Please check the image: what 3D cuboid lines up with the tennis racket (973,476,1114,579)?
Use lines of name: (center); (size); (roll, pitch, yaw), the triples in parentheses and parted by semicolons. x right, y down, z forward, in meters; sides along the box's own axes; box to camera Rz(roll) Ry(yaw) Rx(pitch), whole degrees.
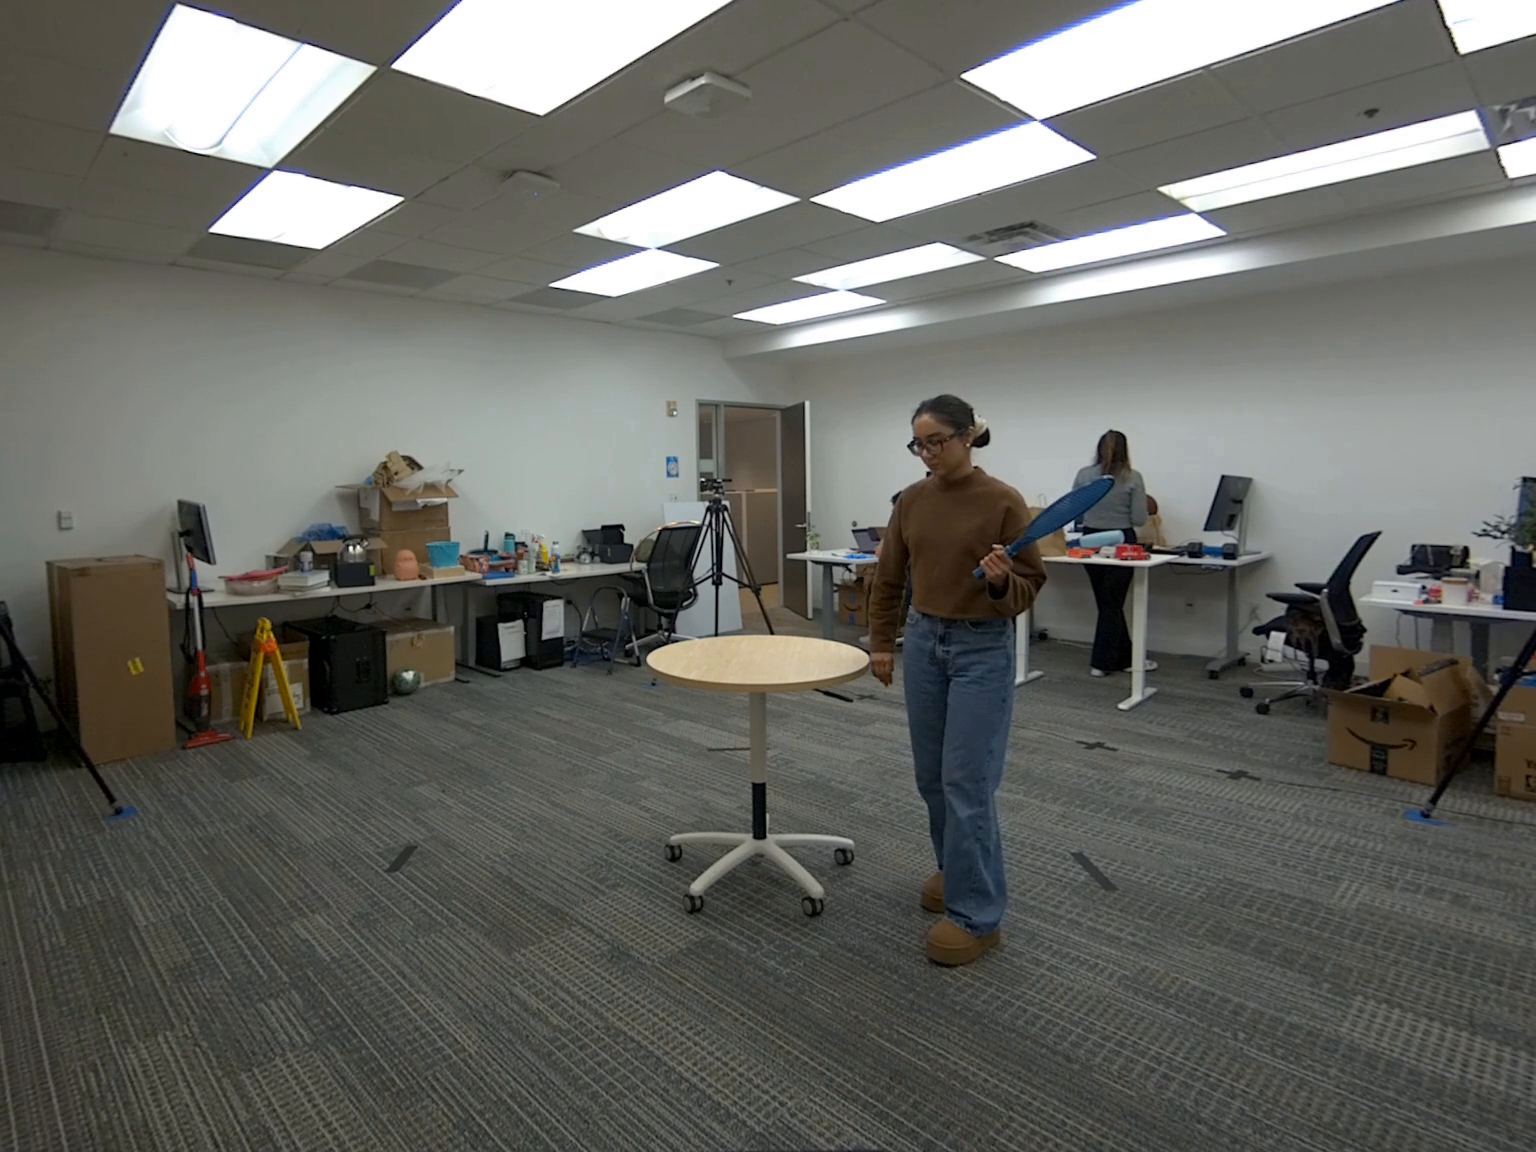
tennis racket: (0.712, -0.129, 2.233); (0.434, 0.033, 0.207); (-40, -27, 27)
